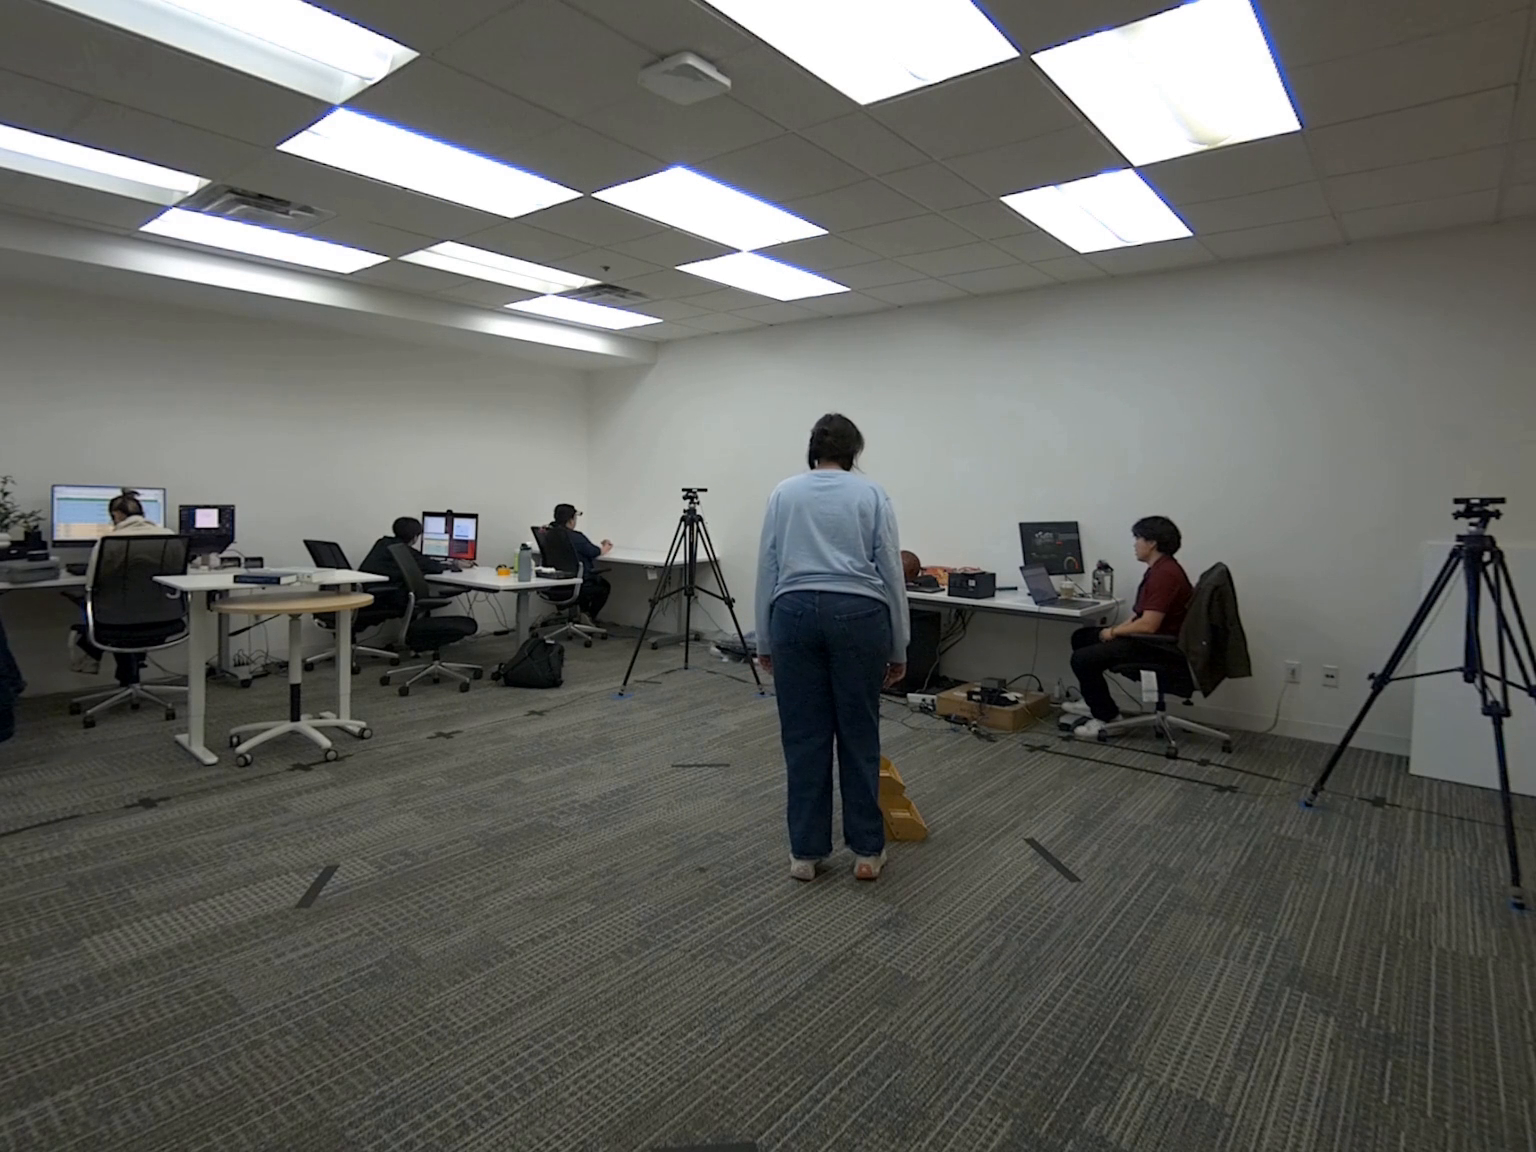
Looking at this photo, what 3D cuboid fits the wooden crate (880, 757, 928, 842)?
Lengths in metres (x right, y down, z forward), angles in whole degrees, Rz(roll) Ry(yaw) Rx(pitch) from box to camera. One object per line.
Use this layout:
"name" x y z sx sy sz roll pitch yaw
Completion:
"wooden crate" 0.489 0.908 3.564 0.302 0.272 0.325 0 4 0
